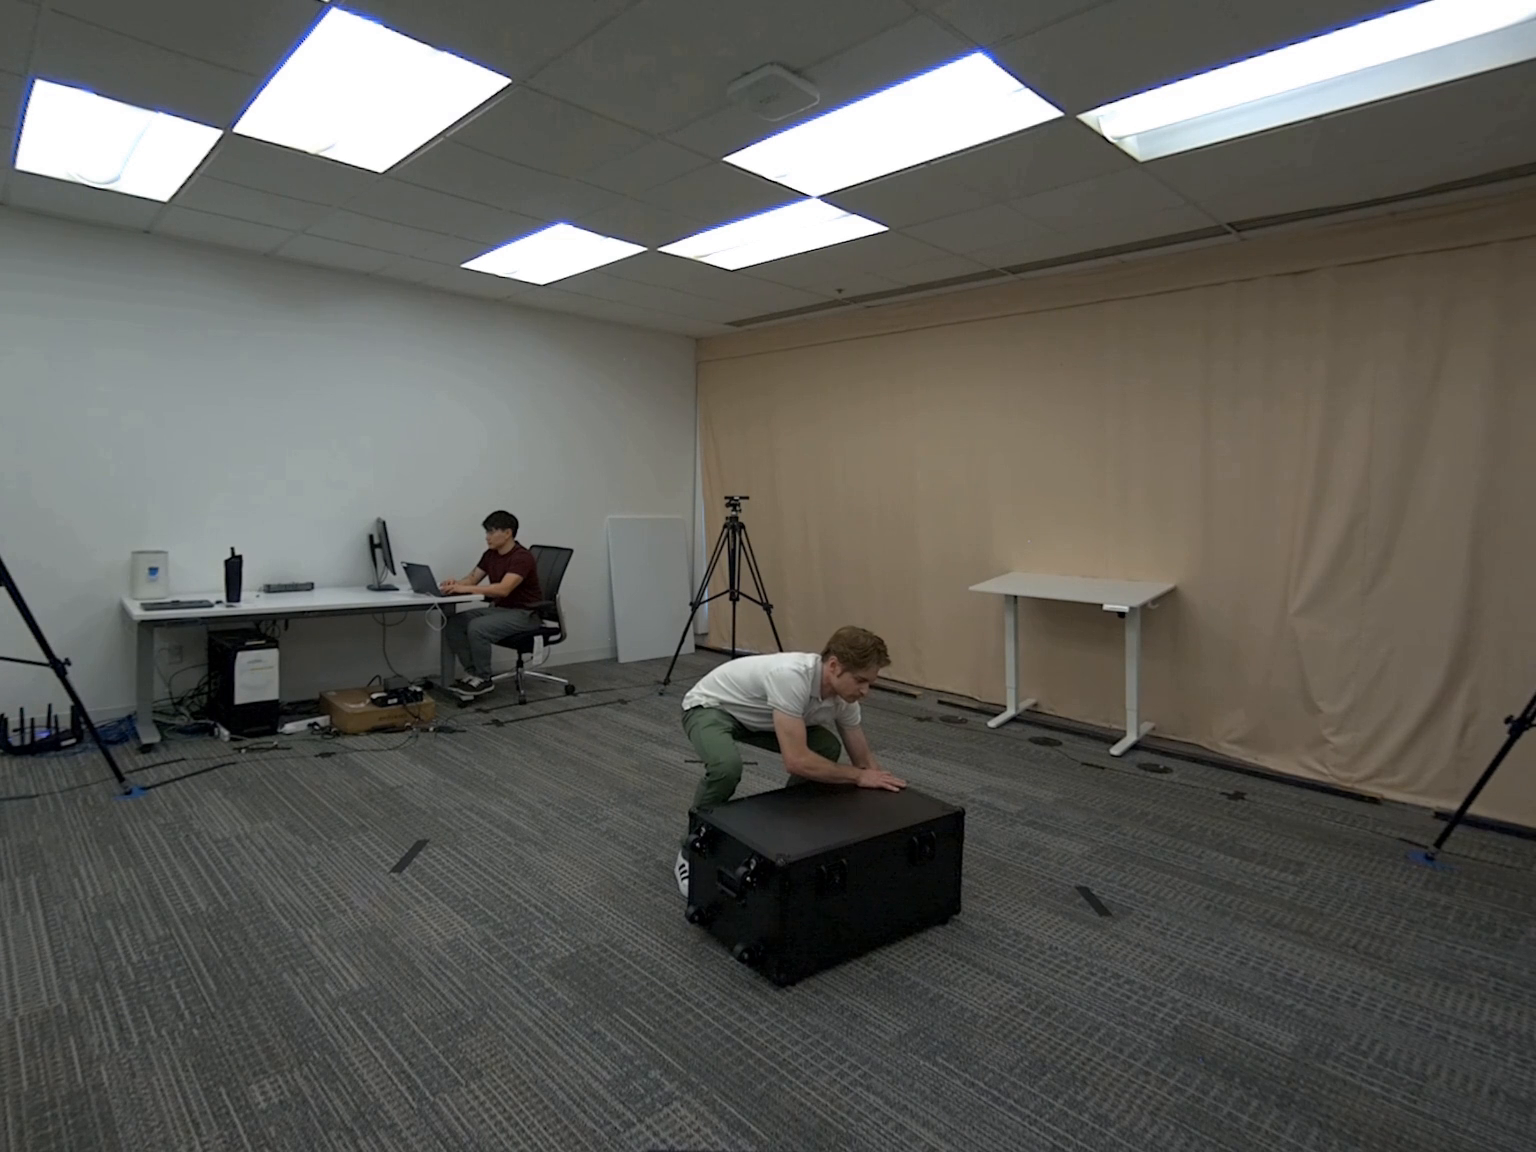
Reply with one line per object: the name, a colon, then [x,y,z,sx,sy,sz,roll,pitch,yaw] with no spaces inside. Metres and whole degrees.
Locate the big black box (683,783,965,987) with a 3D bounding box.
big black box: [0.155,0.945,2.755,0.850,0.384,0.537,-2,7,-35]
